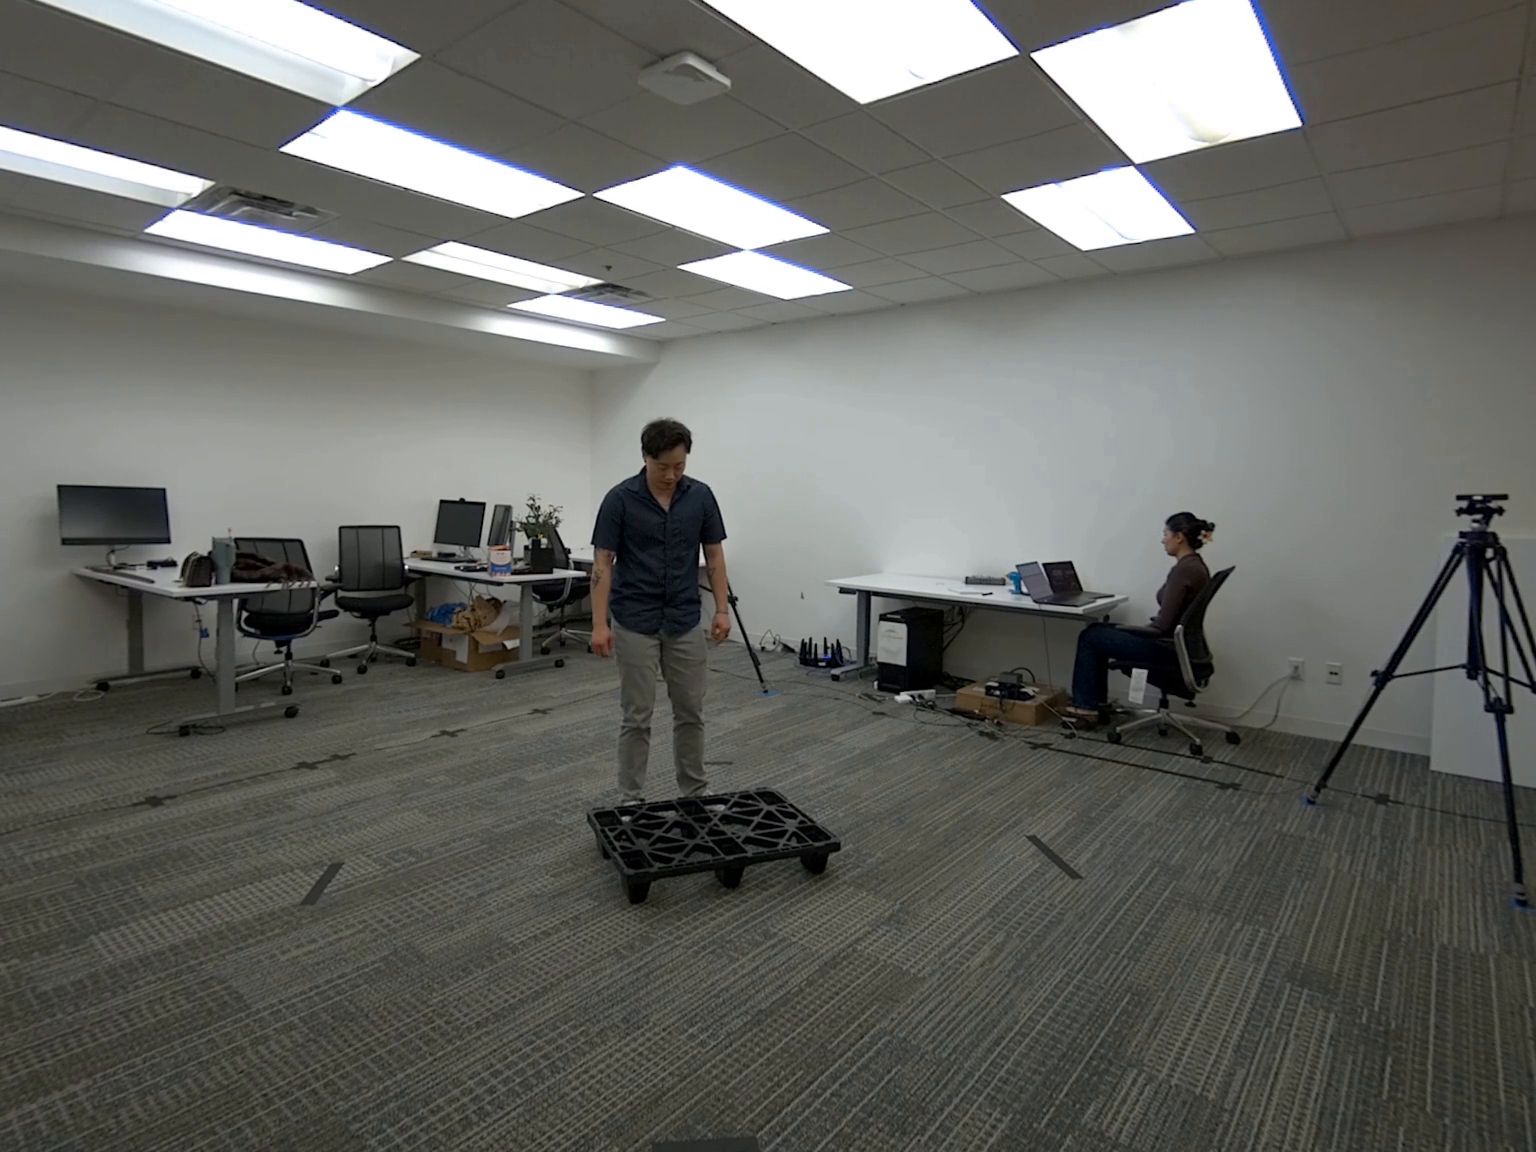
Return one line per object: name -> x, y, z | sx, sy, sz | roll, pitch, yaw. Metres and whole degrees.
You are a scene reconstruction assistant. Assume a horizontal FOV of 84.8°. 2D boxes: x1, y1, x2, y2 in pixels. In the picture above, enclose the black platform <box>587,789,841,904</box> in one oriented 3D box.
black platform -> -0.226, 0.990, 3.169 | 0.788, 0.143, 0.621 | -2, 7, -23
